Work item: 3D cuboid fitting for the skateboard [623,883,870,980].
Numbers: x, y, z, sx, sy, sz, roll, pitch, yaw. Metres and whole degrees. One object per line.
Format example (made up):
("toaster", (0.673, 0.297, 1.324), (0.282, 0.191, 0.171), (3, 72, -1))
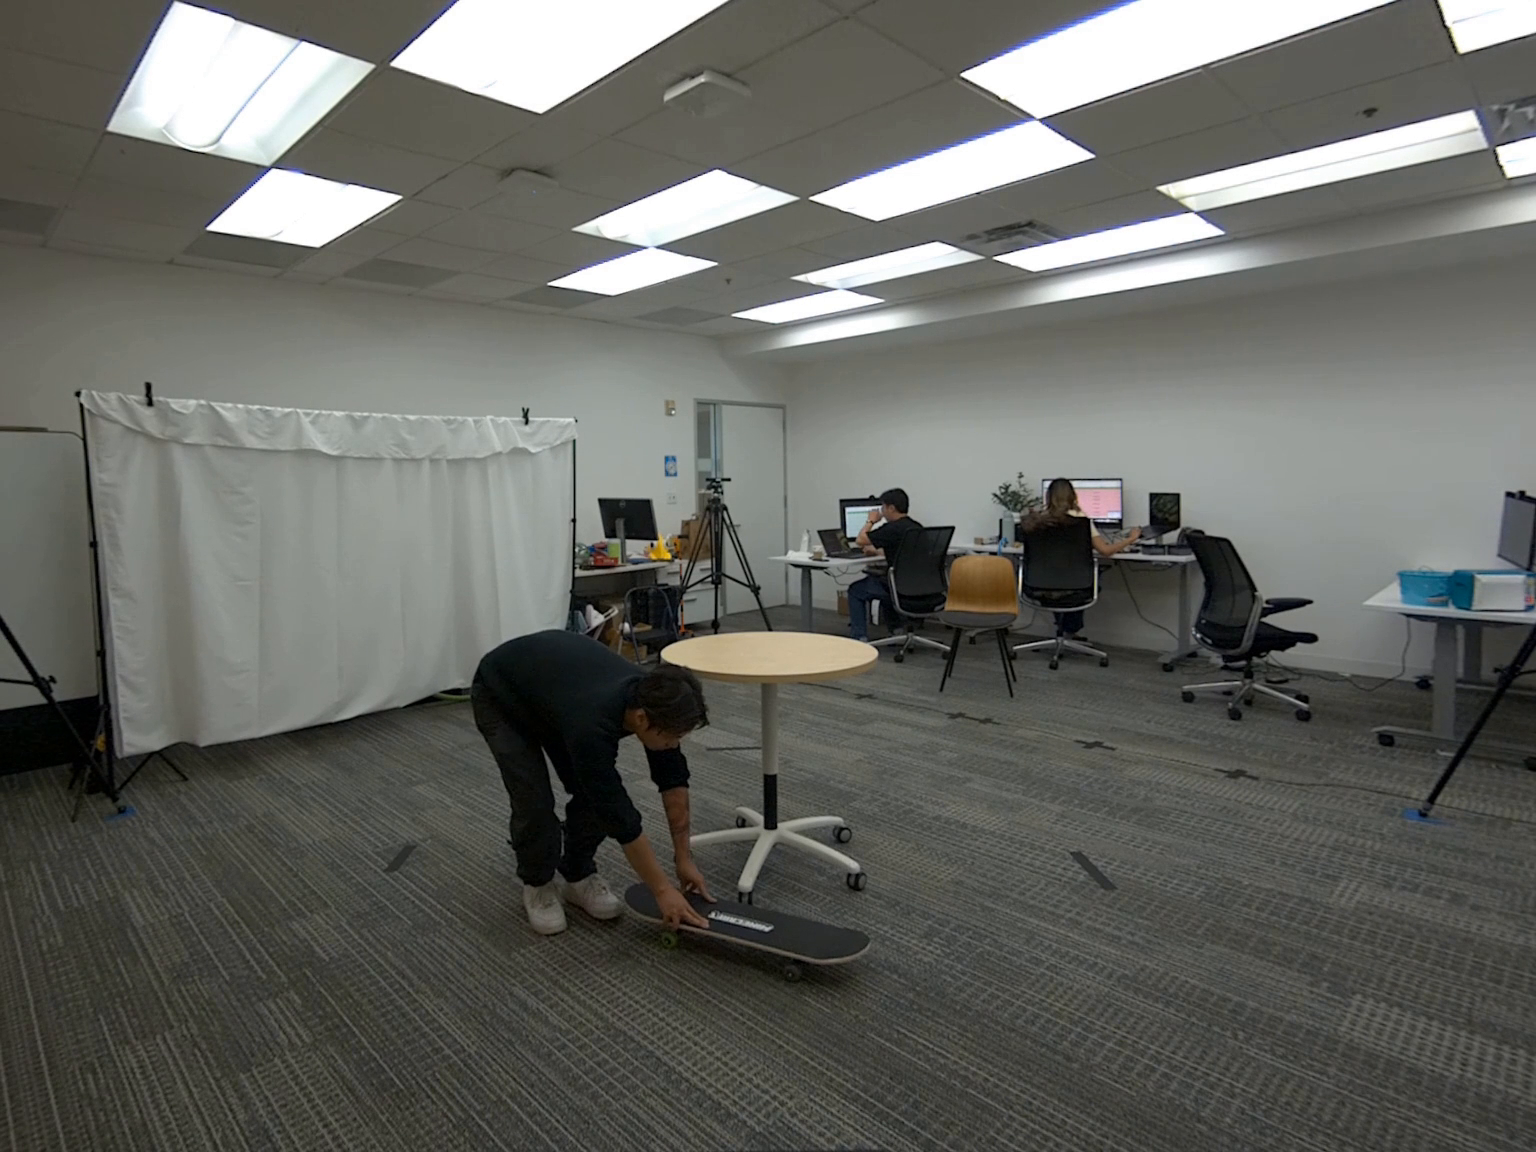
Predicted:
("skateboard", (-0.082, 1.052, 2.529), (0.804, 0.110, 0.190), (2, 7, 26))
